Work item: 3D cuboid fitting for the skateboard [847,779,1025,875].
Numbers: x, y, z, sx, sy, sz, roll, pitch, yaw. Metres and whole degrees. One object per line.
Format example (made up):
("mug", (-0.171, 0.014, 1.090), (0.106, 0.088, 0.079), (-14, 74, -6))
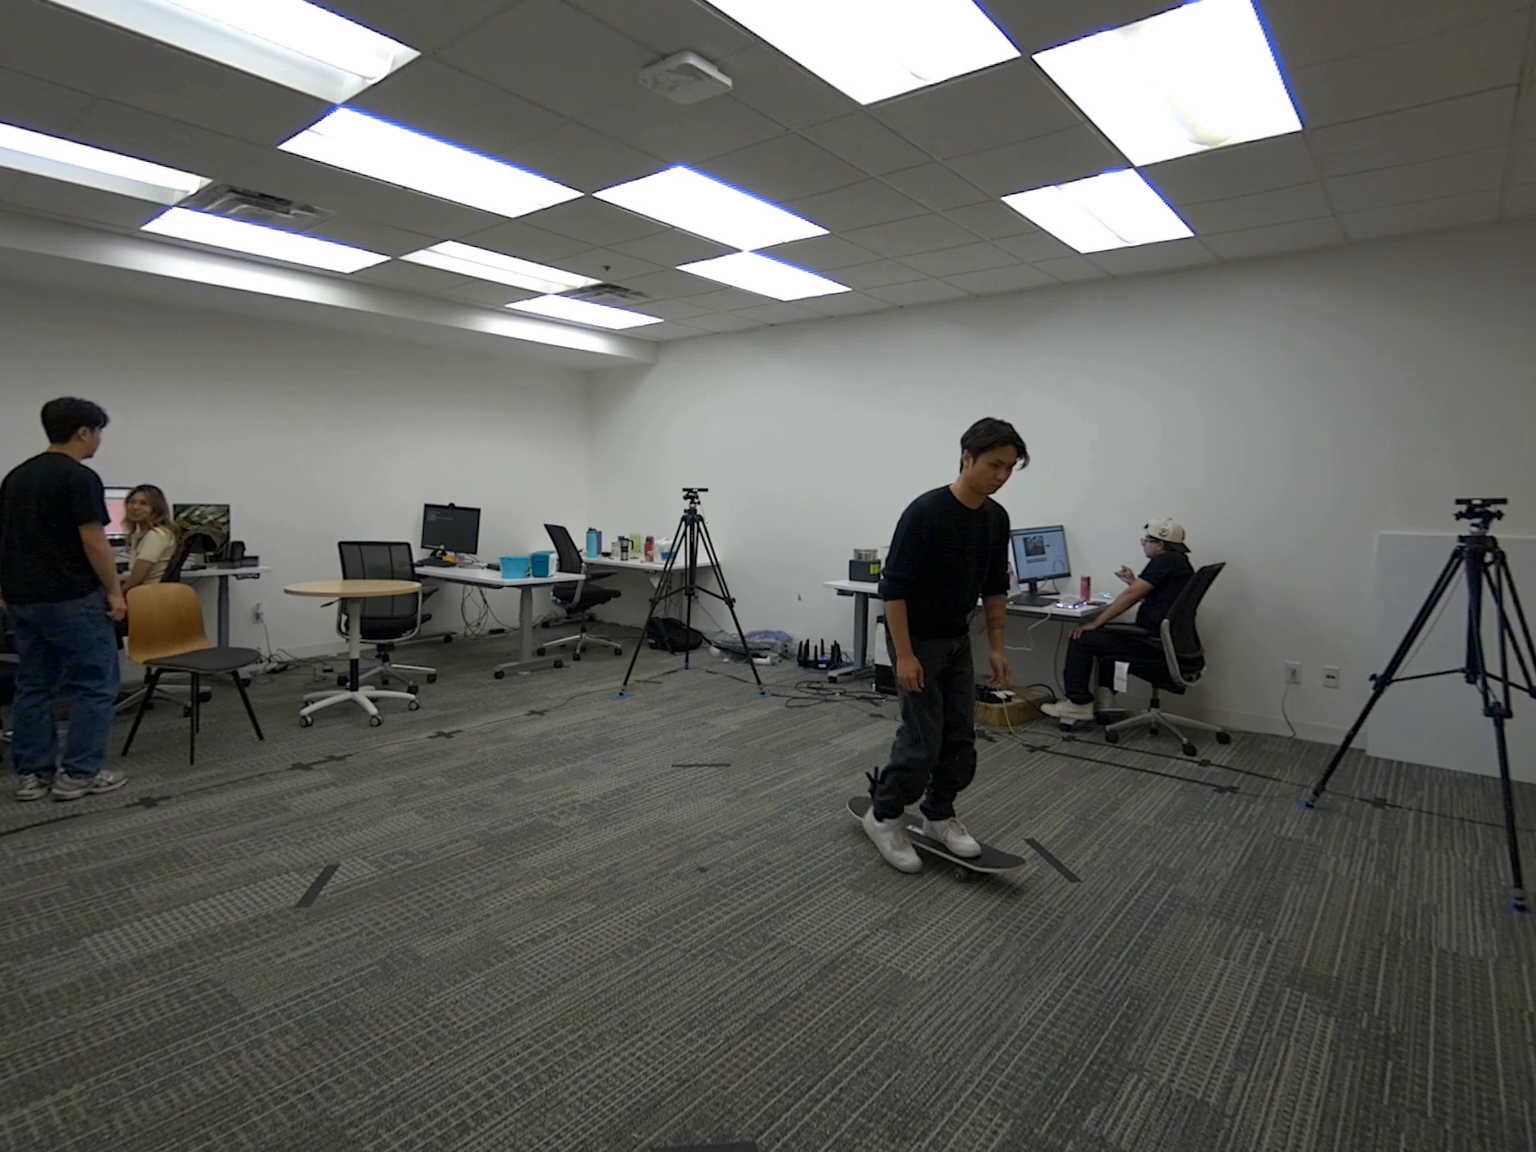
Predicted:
("skateboard", (0.612, 1.018, 3.277), (0.188, 0.110, 0.813), (-5, 8, -40))
